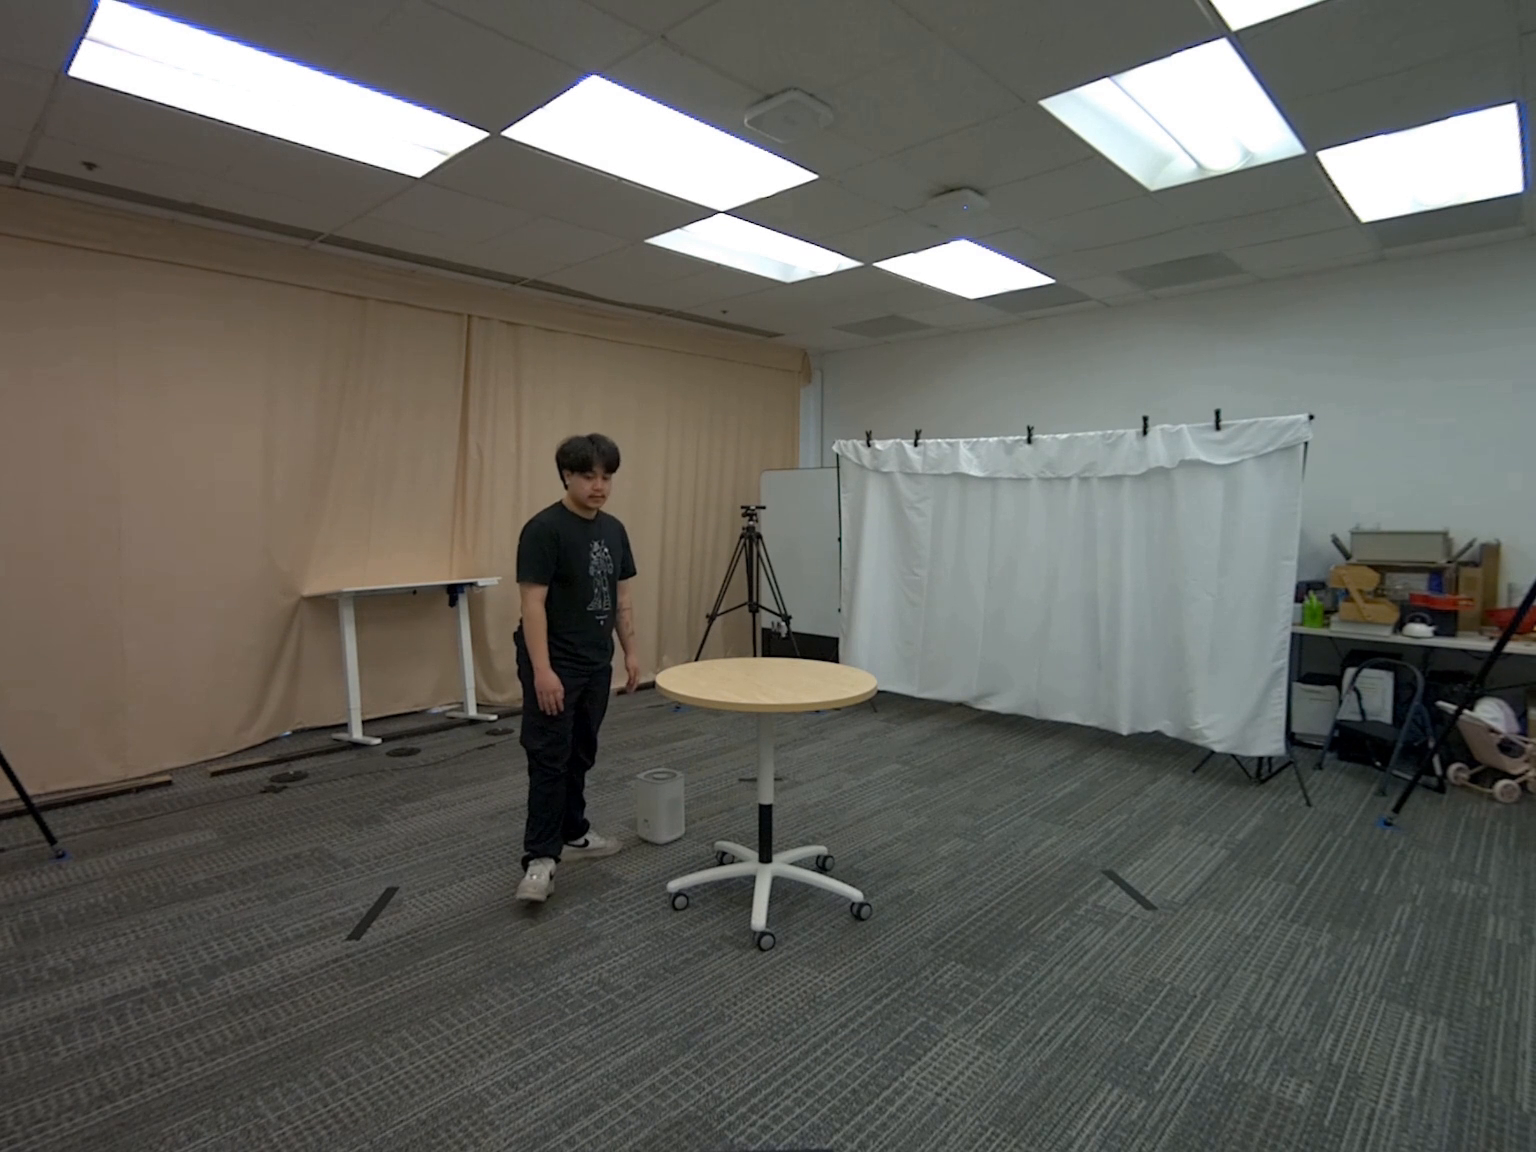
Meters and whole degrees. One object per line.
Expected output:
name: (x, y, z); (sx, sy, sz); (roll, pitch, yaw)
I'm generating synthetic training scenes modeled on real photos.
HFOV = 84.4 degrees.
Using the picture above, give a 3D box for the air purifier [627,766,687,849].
air purifier: (-0.465, 0.961, 3.541); (0.176, 0.265, 0.166); (1, 3, 36)
